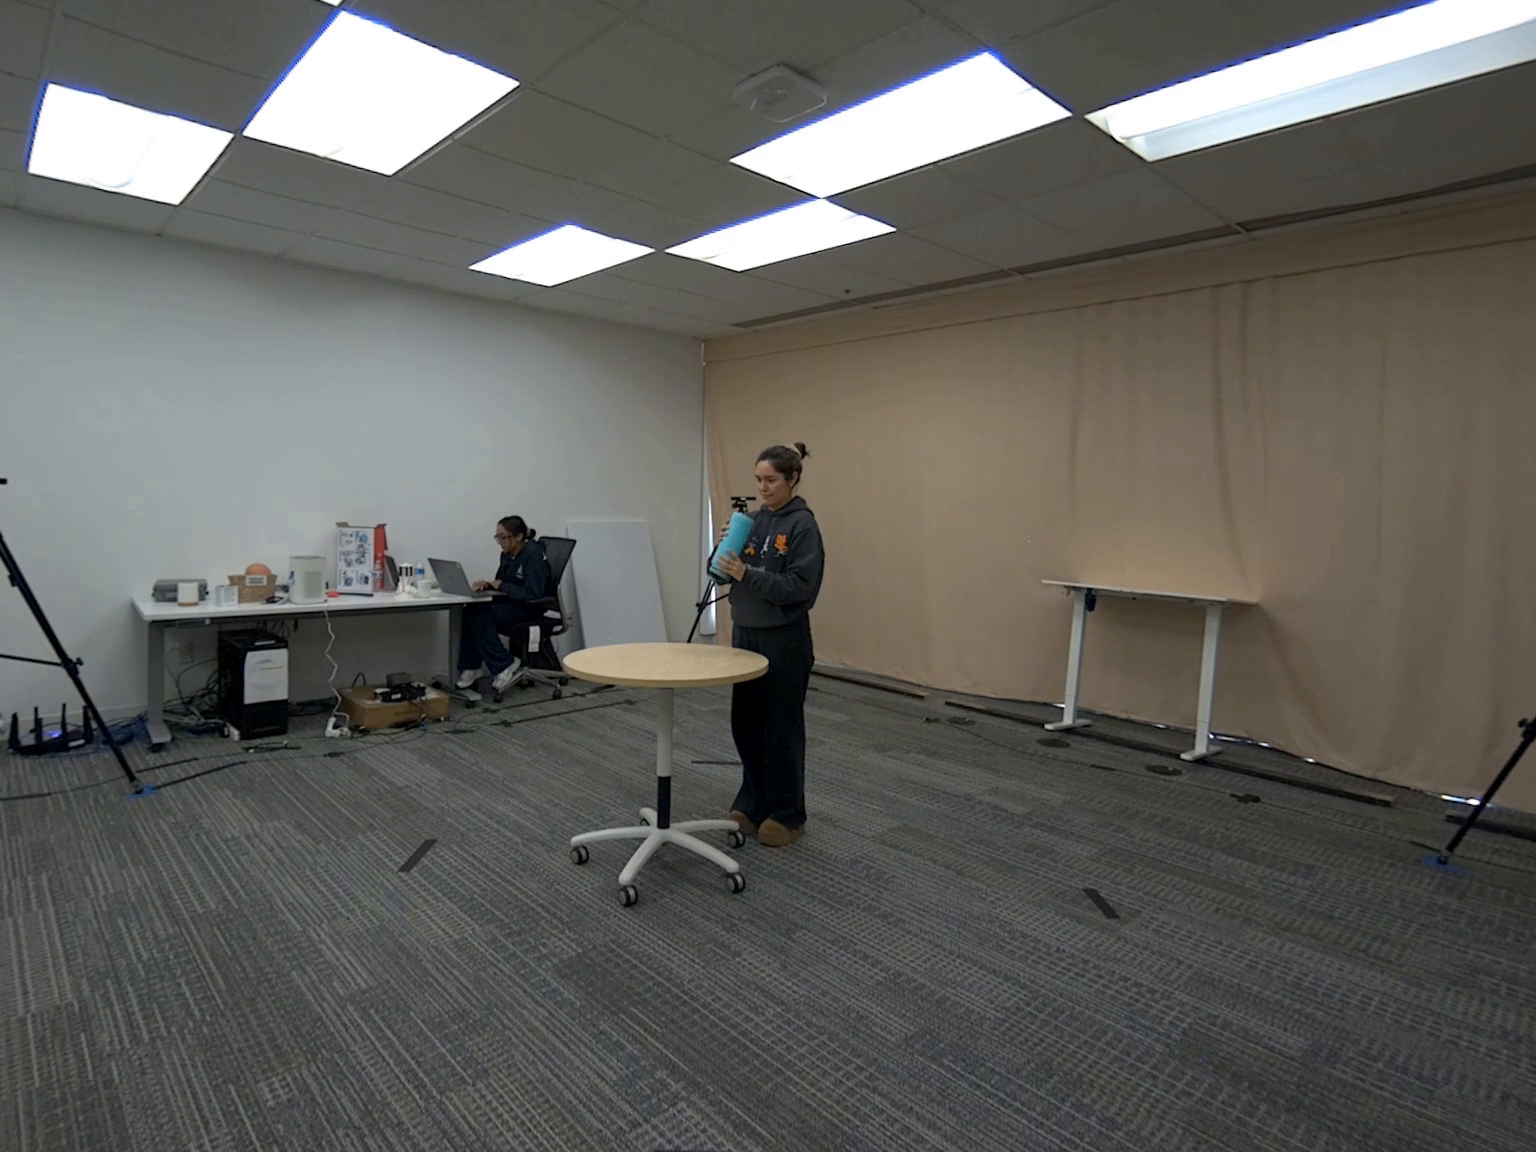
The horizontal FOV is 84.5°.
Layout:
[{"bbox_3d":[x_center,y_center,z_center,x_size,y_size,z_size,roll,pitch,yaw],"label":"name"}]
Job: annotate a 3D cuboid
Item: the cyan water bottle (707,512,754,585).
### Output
[{"bbox_3d":[-0.157,-0.107,3.303,0.092,0.283,0.092,23,0,-2],"label":"cyan water bottle"}]
